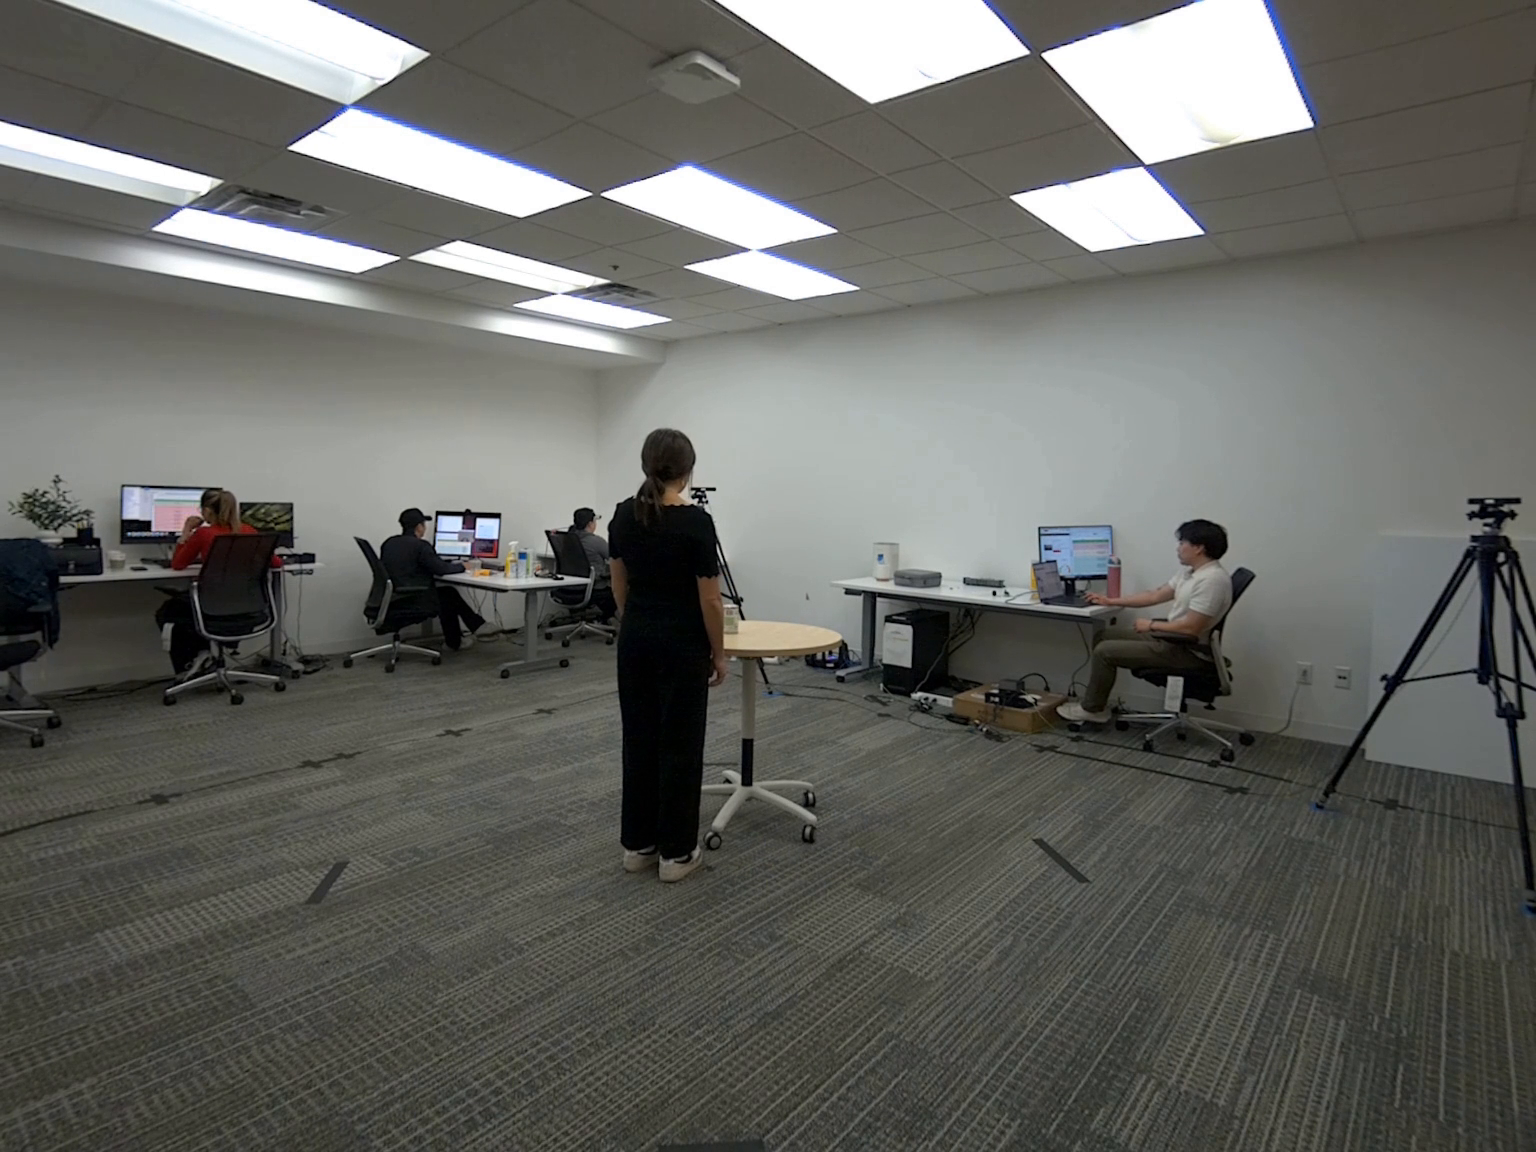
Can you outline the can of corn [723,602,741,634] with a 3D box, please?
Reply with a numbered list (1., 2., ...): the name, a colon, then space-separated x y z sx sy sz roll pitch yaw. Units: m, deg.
1. can of corn: -0.174 0.180 3.607 0.074 0.111 0.074 4 2 -2
